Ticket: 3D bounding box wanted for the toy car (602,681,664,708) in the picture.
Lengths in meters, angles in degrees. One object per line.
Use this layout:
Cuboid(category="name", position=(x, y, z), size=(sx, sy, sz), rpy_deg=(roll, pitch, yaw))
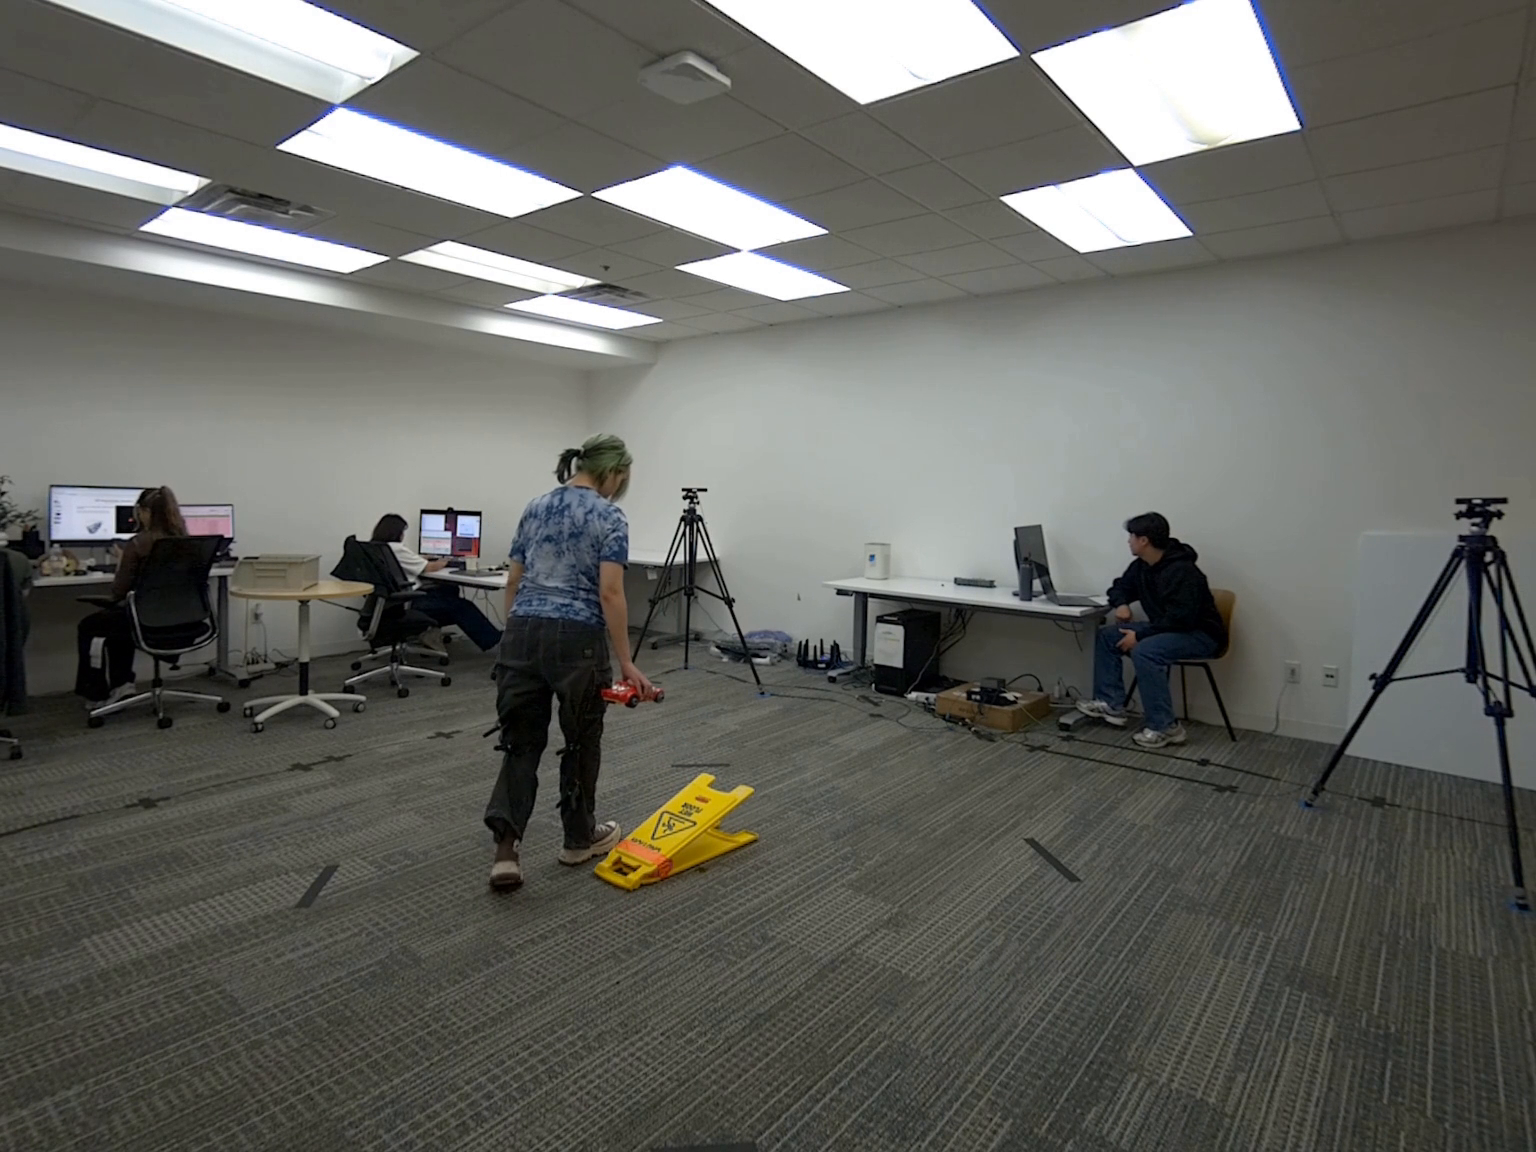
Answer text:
Cuboid(category="toy car", position=(-0.497, 0.423, 2.986), size=(0.134, 0.083, 0.245), rpy_deg=(6, -8, 35))
